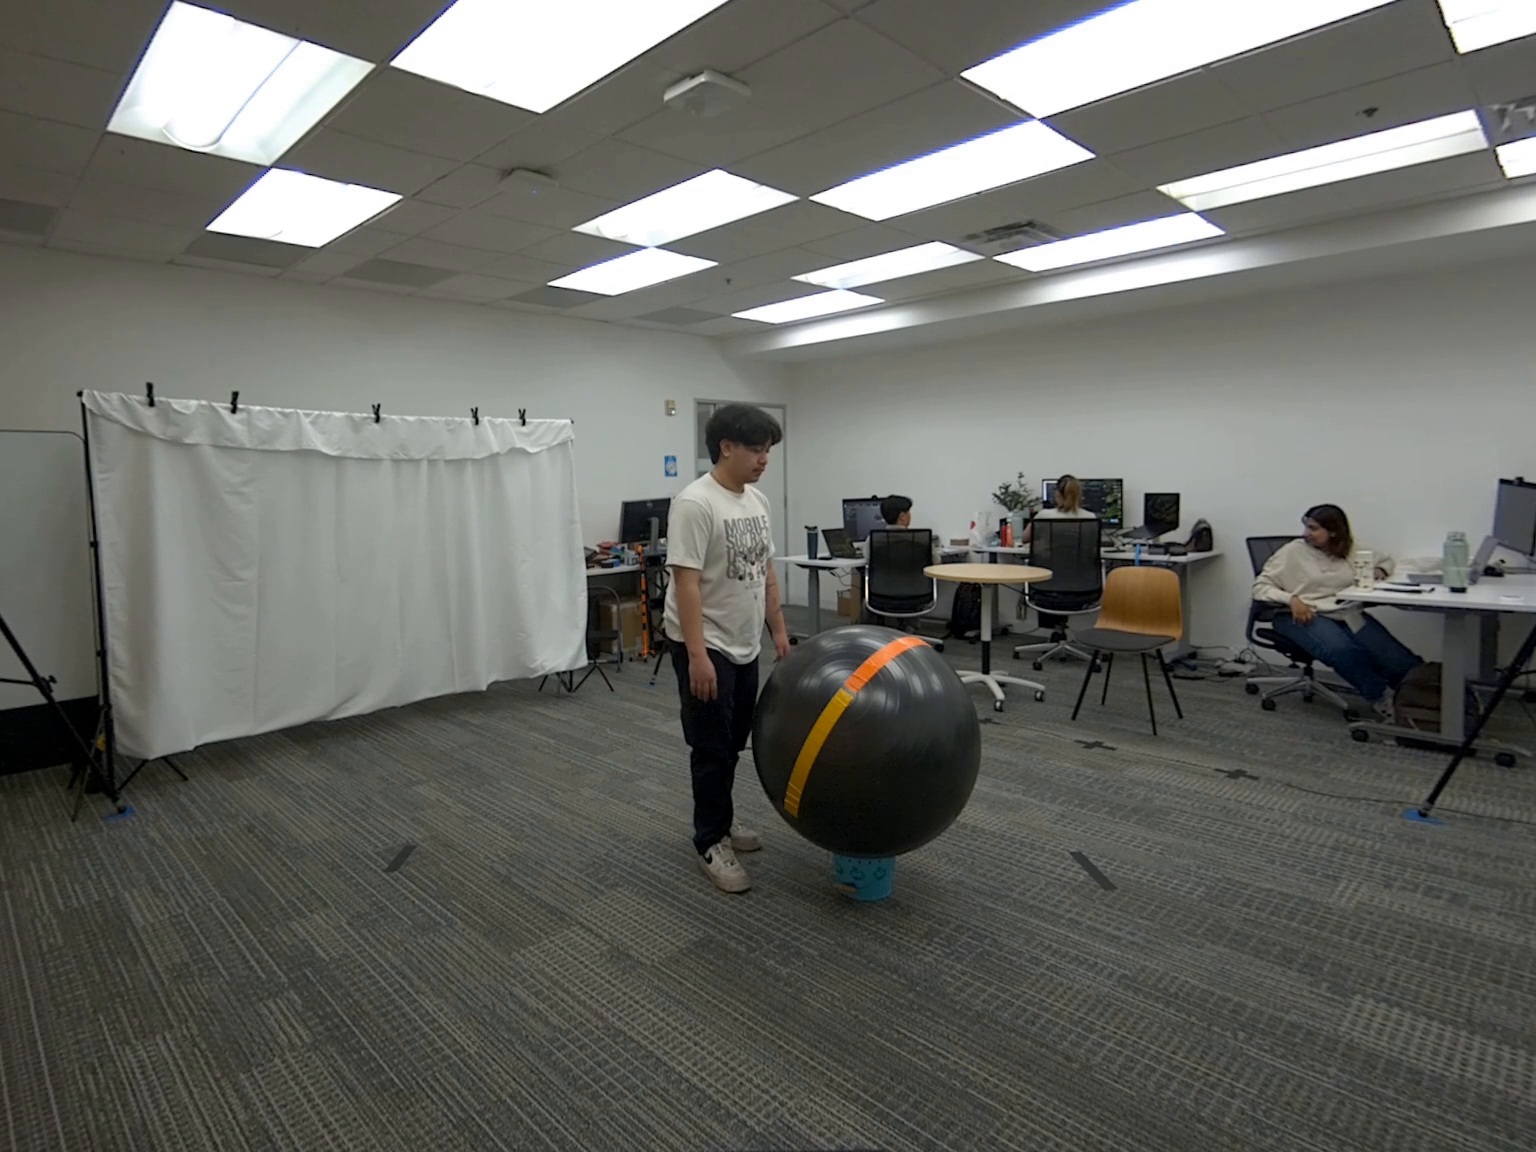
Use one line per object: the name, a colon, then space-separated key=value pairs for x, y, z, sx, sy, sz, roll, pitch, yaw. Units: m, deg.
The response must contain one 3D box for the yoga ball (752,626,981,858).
yoga ball: x=0.322 y=0.547 z=2.878 sx=0.757 sy=0.755 sz=0.762 roll=-1 pitch=5 yaw=-2
